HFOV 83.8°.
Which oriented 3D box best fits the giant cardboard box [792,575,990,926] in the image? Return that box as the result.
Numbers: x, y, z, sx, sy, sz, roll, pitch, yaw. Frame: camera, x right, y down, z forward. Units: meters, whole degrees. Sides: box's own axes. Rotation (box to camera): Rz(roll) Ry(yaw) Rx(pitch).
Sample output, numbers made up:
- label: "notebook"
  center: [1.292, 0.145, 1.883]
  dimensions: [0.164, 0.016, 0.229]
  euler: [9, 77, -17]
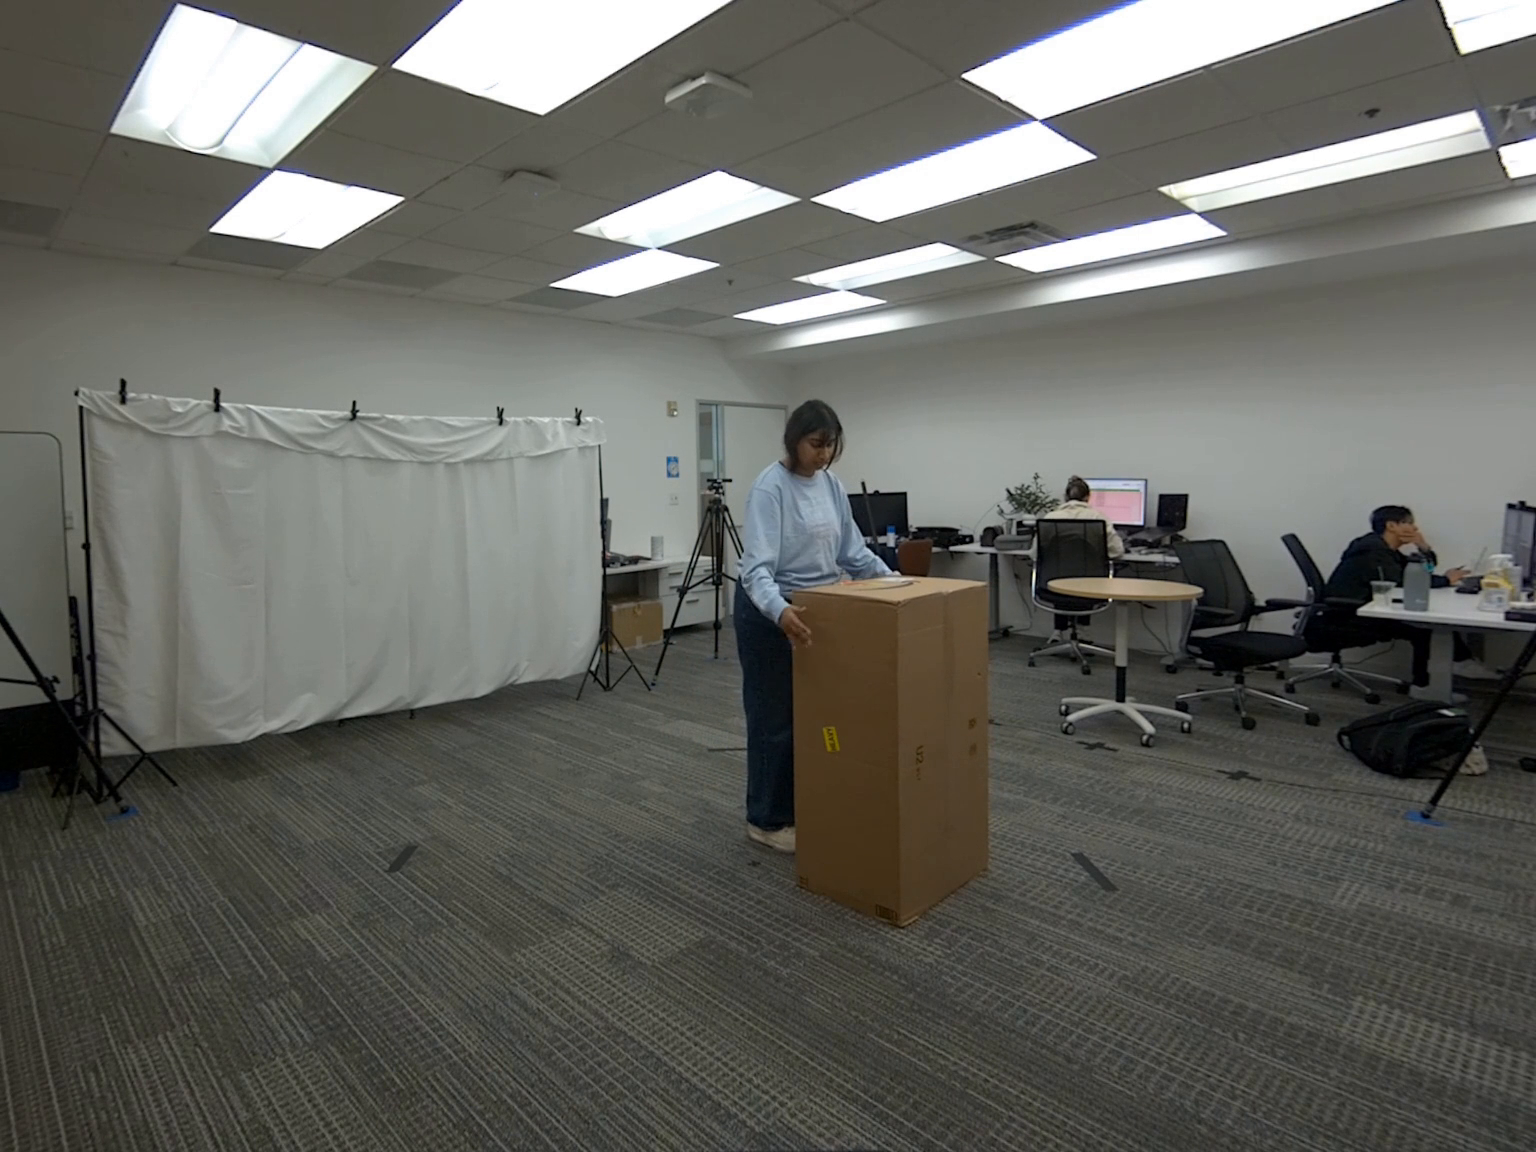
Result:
- label: "giant cardboard box"
  center: [0.440, 0.547, 2.952]
  dimensions: [0.460, 1.024, 0.568]
  euler: [2, 5, 45]
